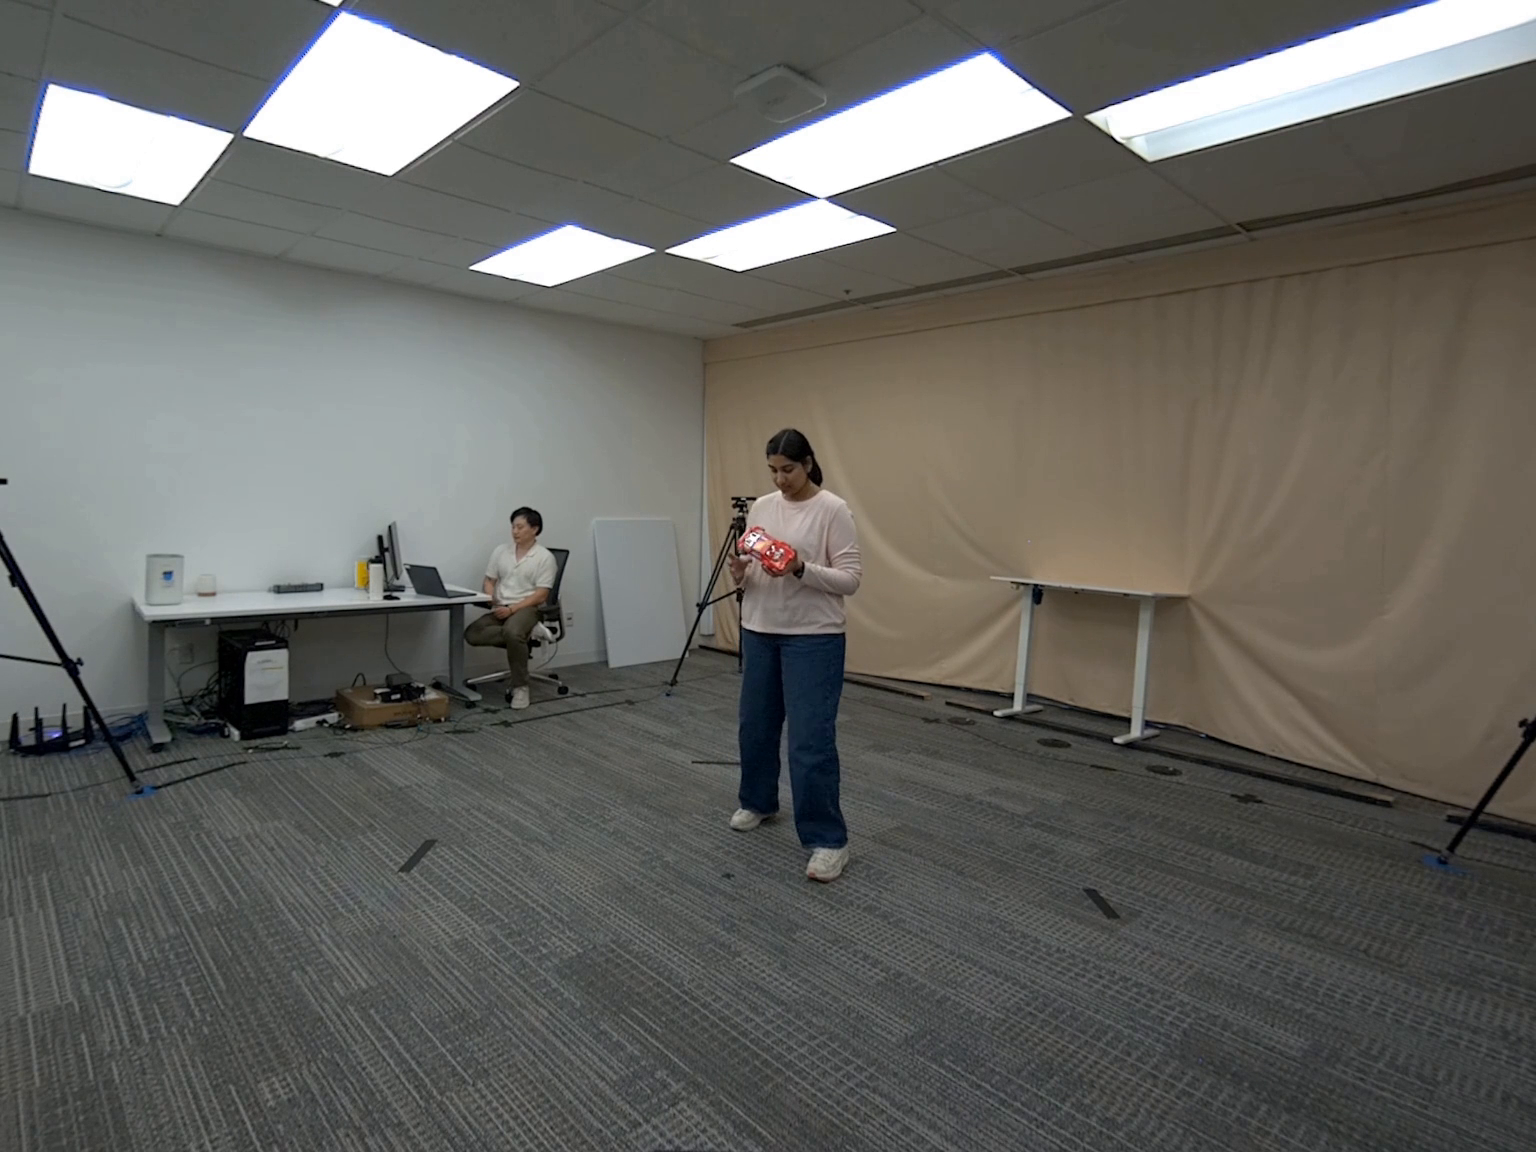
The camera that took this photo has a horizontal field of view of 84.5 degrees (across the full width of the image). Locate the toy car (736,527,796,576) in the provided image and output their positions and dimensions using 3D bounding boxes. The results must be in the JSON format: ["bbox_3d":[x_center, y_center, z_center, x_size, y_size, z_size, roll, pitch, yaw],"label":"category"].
[{"bbox_3d":[-0.009,-0.093,3.075,0.262,0.130,0.080,32,-15,49],"label":"toy car"}]
